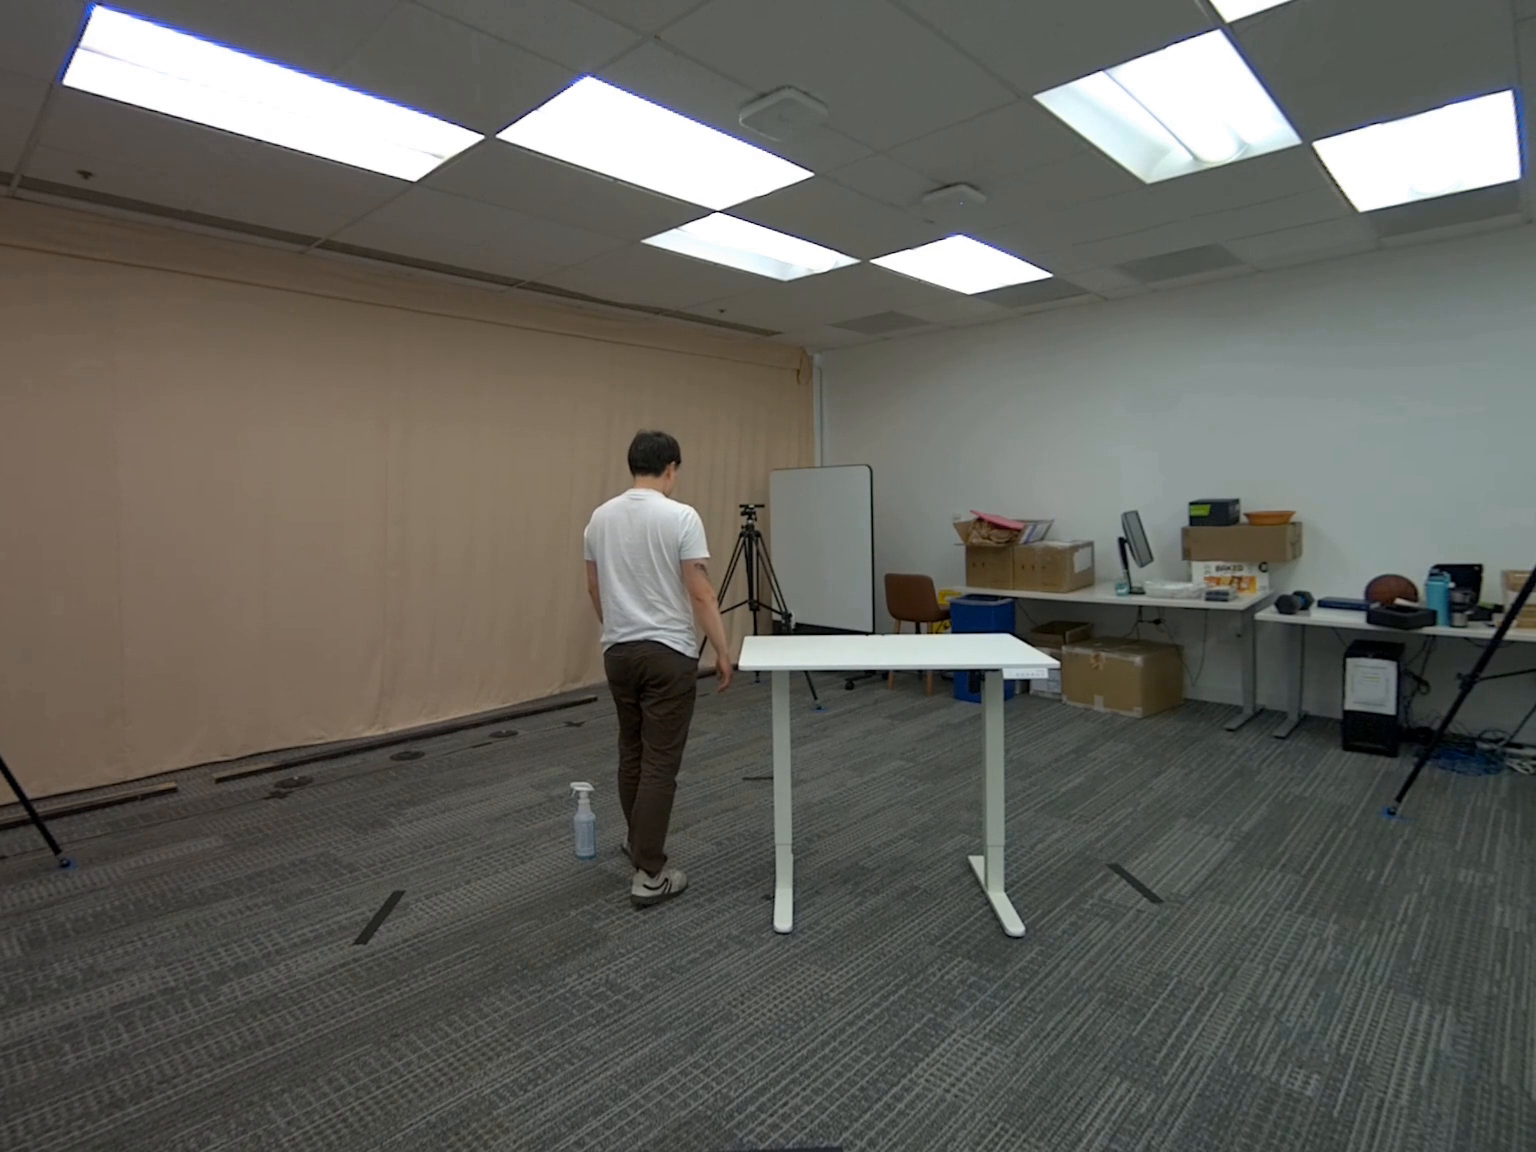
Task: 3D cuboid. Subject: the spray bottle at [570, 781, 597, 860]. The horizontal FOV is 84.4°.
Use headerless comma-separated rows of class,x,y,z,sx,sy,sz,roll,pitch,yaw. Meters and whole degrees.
spray bottle,-0.738,0.985,3.387,0.092,0.297,0.085,-1,3,21
